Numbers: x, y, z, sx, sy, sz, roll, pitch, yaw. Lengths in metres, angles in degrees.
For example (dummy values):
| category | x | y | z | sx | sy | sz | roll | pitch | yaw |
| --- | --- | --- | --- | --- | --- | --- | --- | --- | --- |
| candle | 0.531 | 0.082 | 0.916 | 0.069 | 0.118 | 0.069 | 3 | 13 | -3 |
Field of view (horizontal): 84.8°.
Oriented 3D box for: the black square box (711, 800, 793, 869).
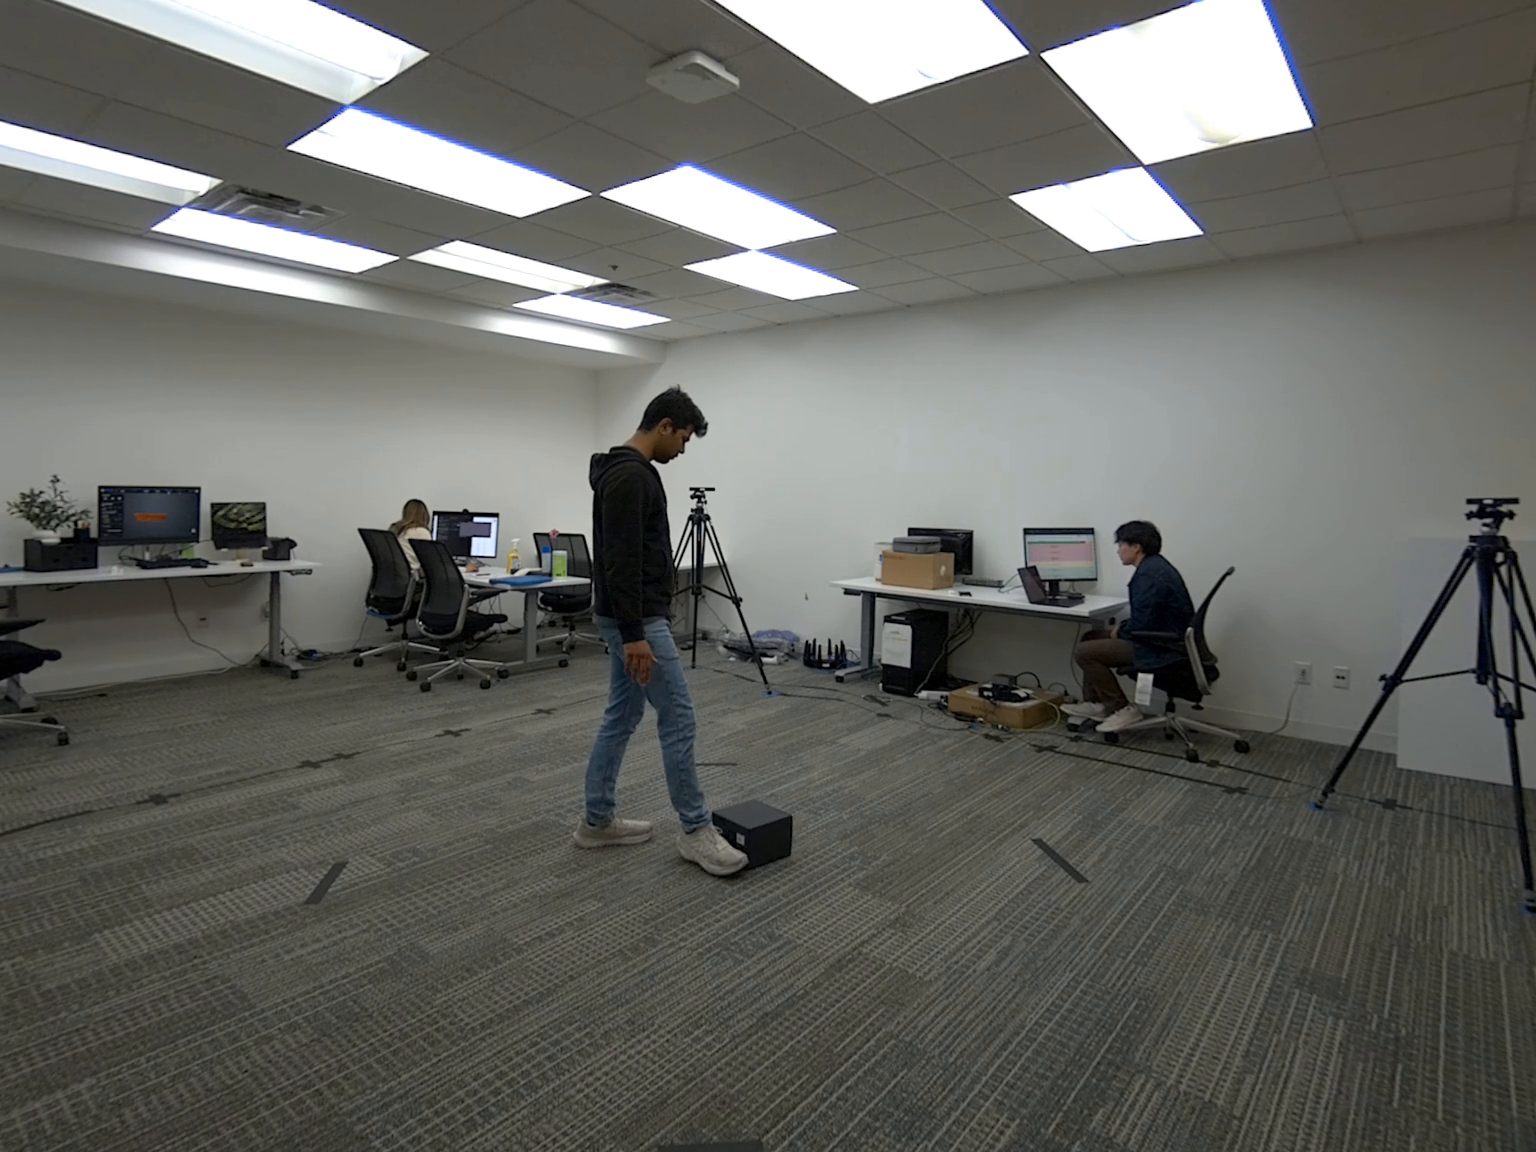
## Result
| category | x | y | z | sx | sy | sz | roll | pitch | yaw |
| --- | --- | --- | --- | --- | --- | --- | --- | --- | --- |
| black square box | -0.071 | 0.975 | 3.236 | 0.221 | 0.155 | 0.224 | -2 | 5 | -41 |
